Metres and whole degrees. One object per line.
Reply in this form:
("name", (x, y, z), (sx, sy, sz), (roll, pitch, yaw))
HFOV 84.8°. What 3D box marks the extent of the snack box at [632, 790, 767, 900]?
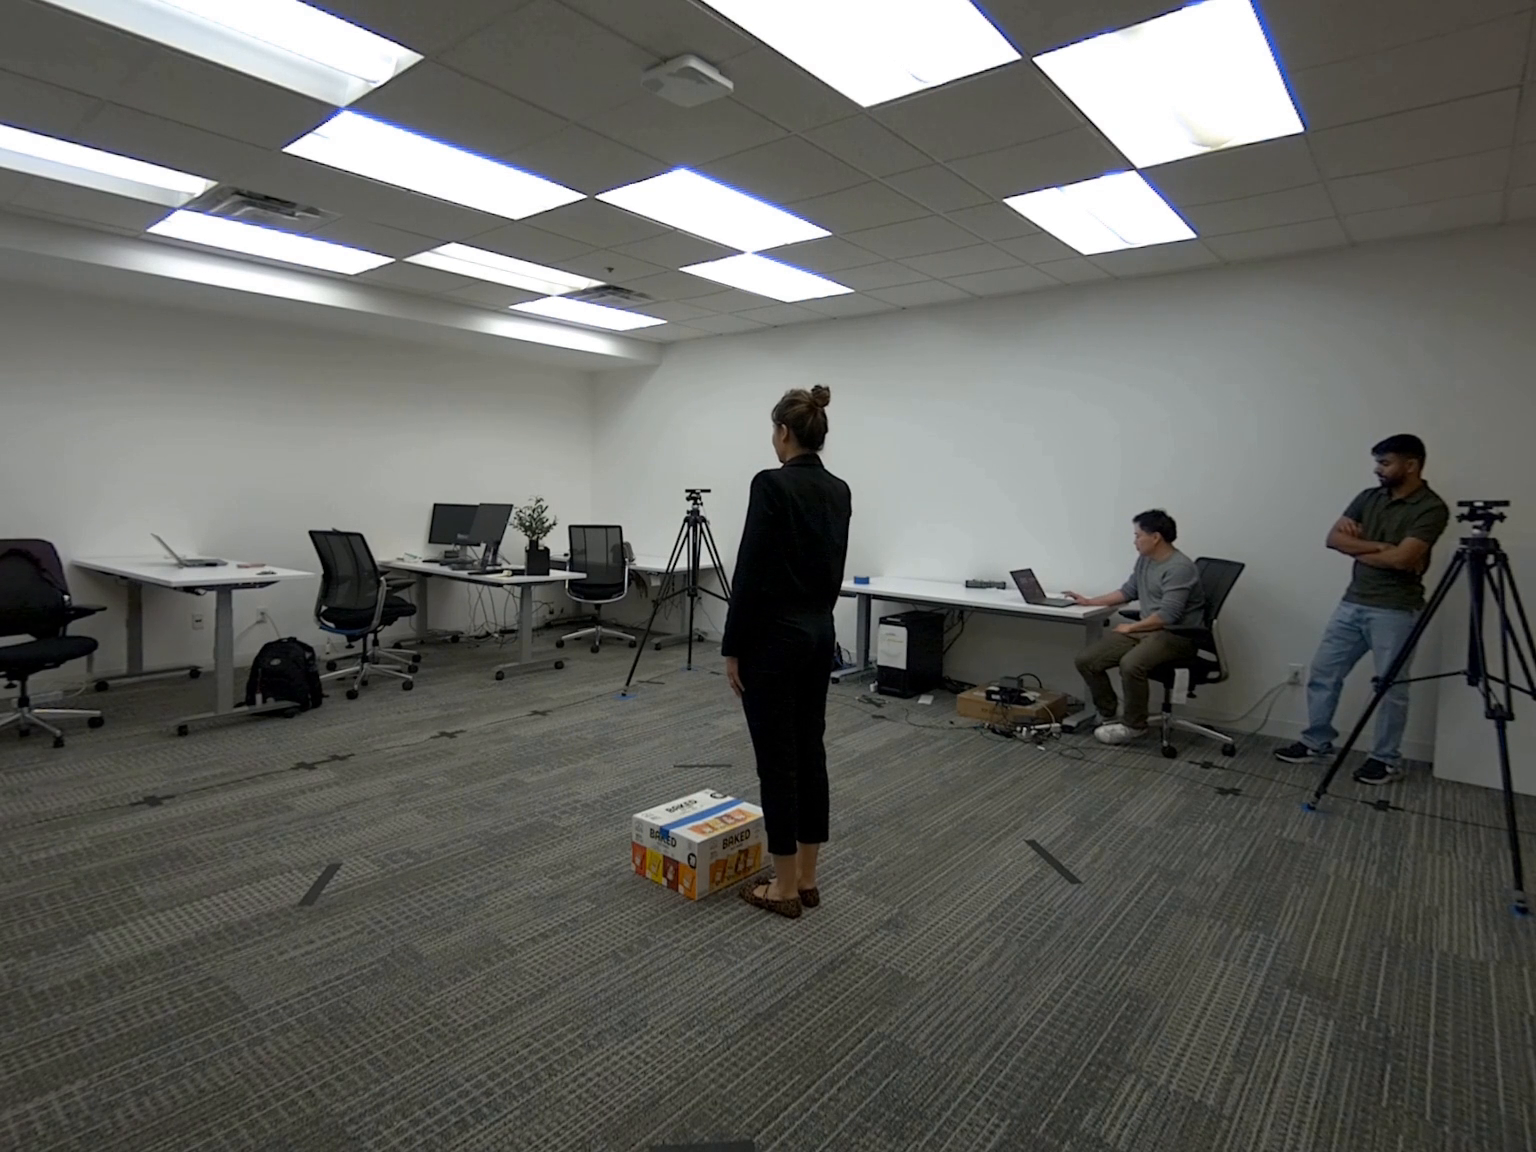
("snack box", (-0.250, 0.970, 3.124), (0.352, 0.205, 0.393), (5, 7, 41))
